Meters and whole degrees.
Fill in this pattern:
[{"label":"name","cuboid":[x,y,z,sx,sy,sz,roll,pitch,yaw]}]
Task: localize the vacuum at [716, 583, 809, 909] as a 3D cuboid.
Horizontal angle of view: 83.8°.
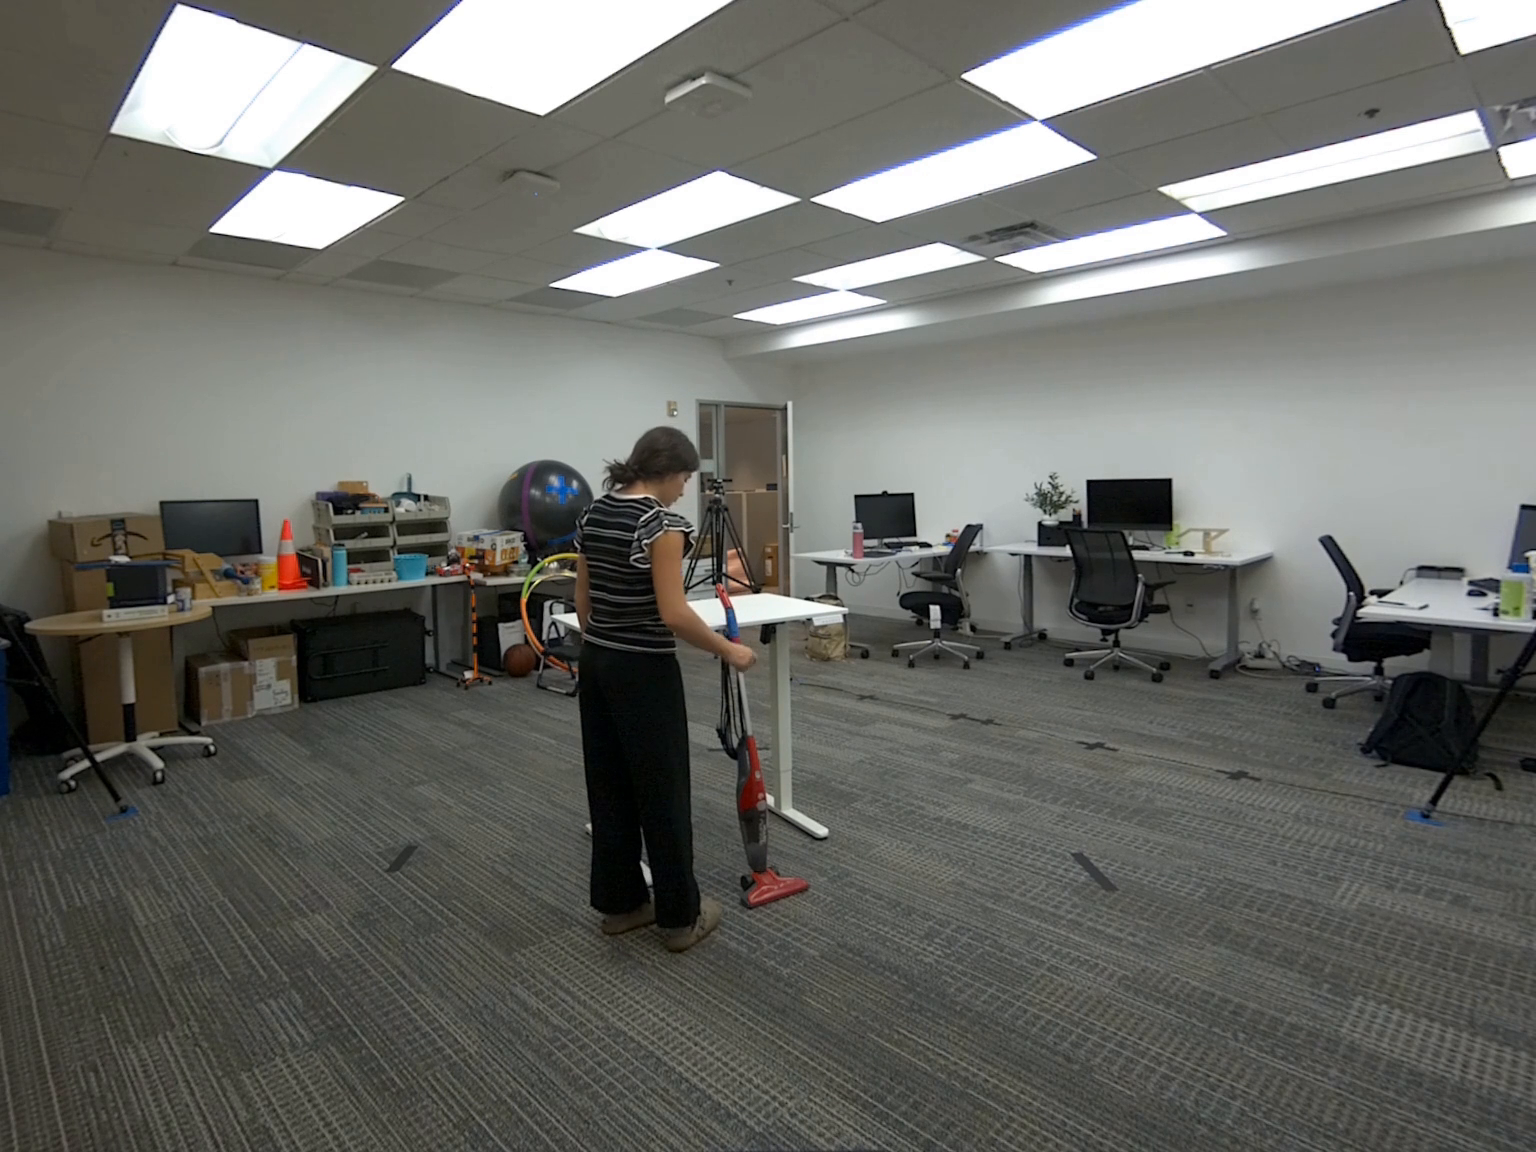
[{"label":"vacuum","cuboid":[-0.084,0.559,2.984,0.246,1.061,0.146,-3,-12,-33]}]
